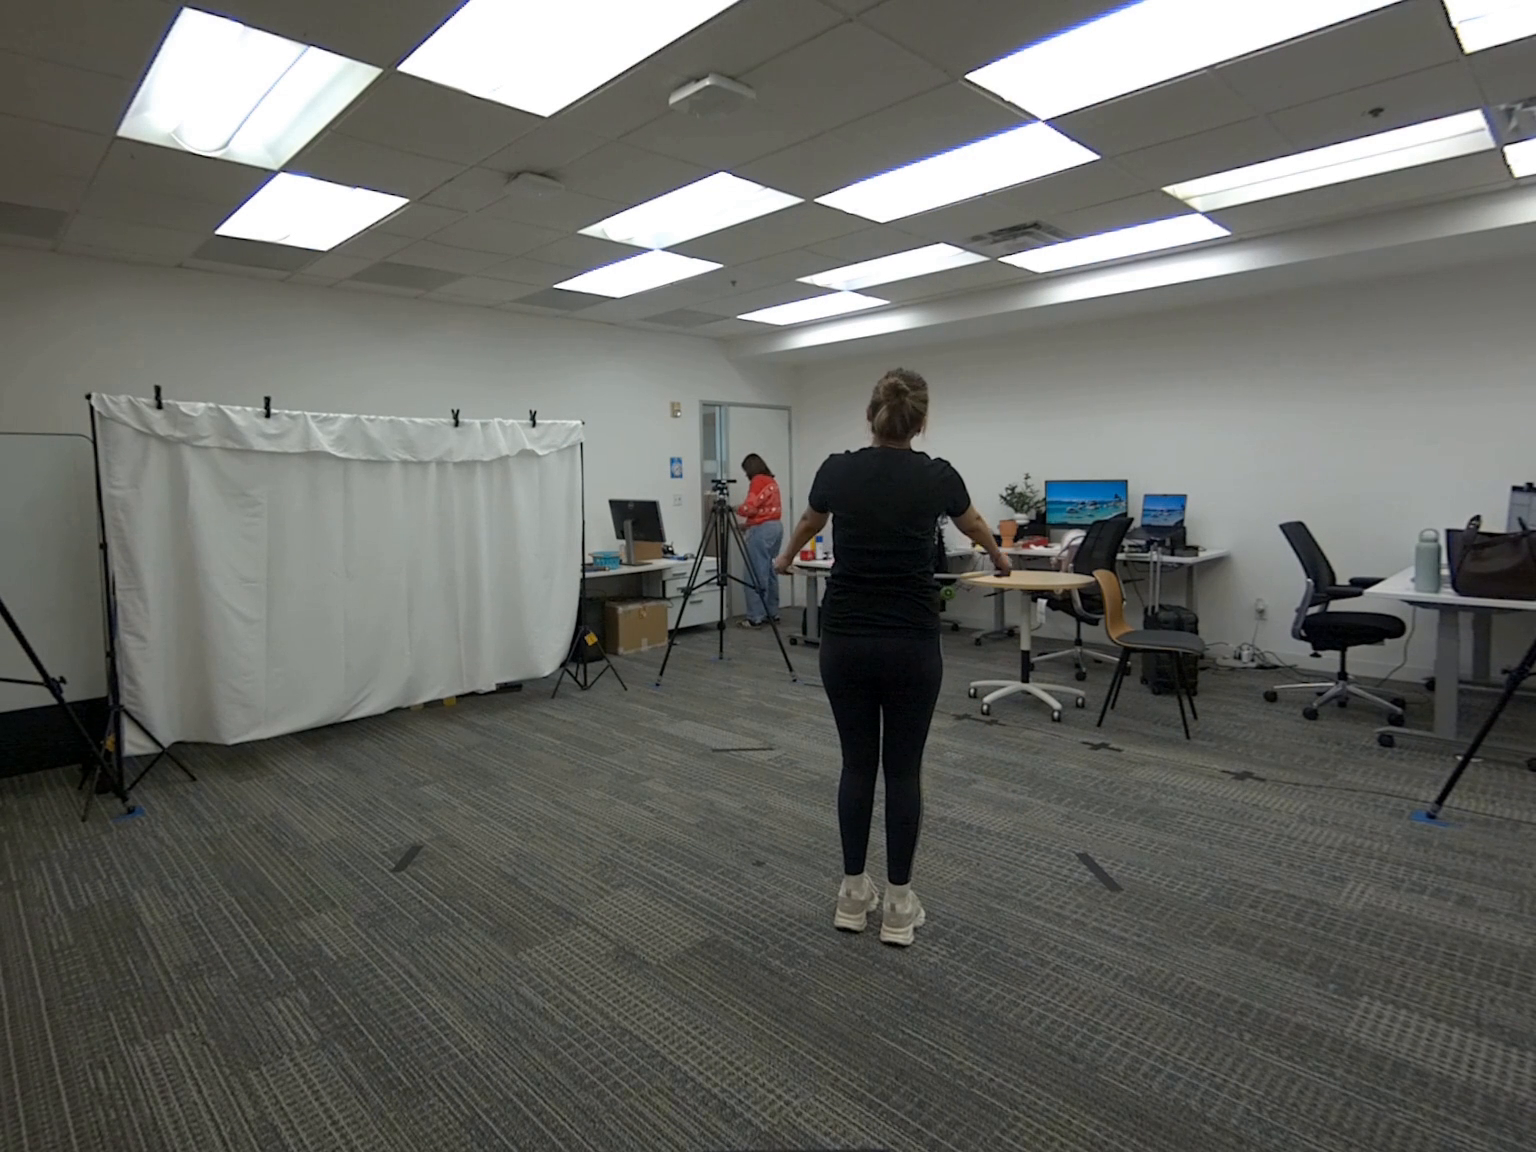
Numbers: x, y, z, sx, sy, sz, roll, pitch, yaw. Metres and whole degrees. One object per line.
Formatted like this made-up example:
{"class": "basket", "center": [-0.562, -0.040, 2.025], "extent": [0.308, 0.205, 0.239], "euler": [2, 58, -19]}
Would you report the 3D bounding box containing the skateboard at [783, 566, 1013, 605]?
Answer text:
{"class": "skateboard", "center": [0.454, 0.030, 3.096], "extent": [0.793, 0.110, 0.192], "euler": [1, 2, 9]}
